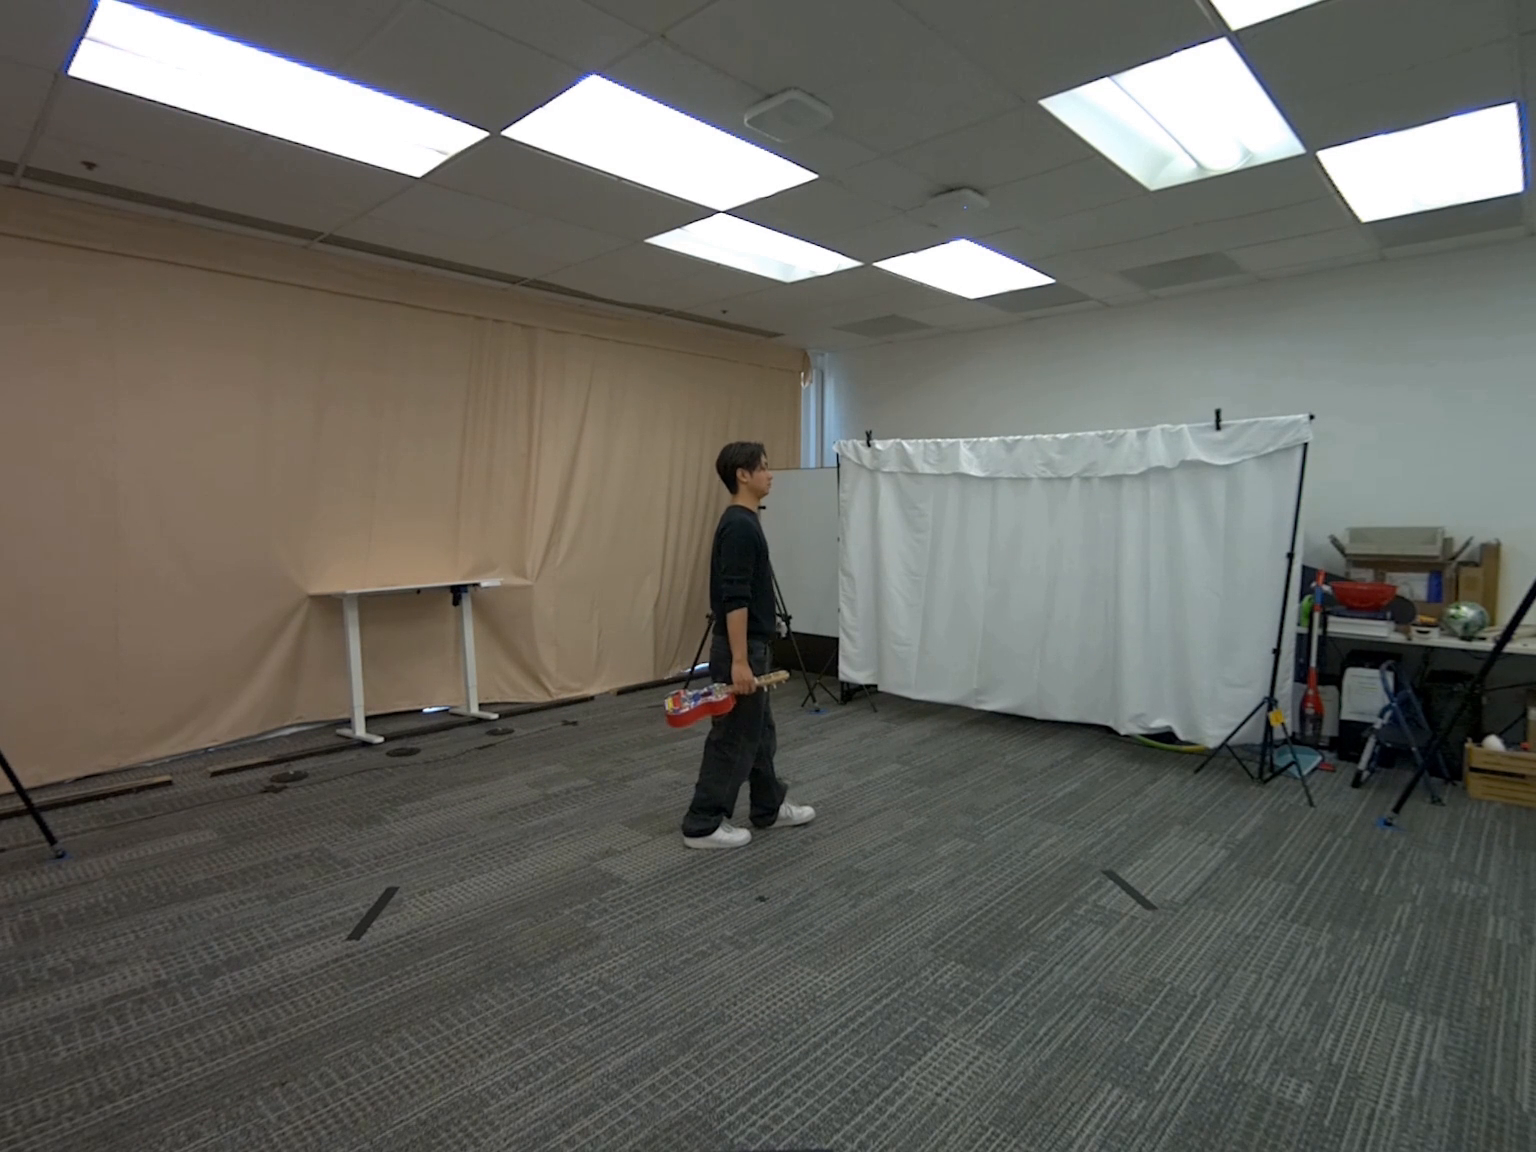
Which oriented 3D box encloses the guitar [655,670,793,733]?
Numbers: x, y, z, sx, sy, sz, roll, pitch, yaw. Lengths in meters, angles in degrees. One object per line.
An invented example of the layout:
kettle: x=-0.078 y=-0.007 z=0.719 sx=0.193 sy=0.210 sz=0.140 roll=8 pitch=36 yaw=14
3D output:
guitar: x=-0.168 y=0.471 z=3.212 sx=0.500 sy=0.070 sz=0.195 roll=-10 pitch=19 yaw=4
